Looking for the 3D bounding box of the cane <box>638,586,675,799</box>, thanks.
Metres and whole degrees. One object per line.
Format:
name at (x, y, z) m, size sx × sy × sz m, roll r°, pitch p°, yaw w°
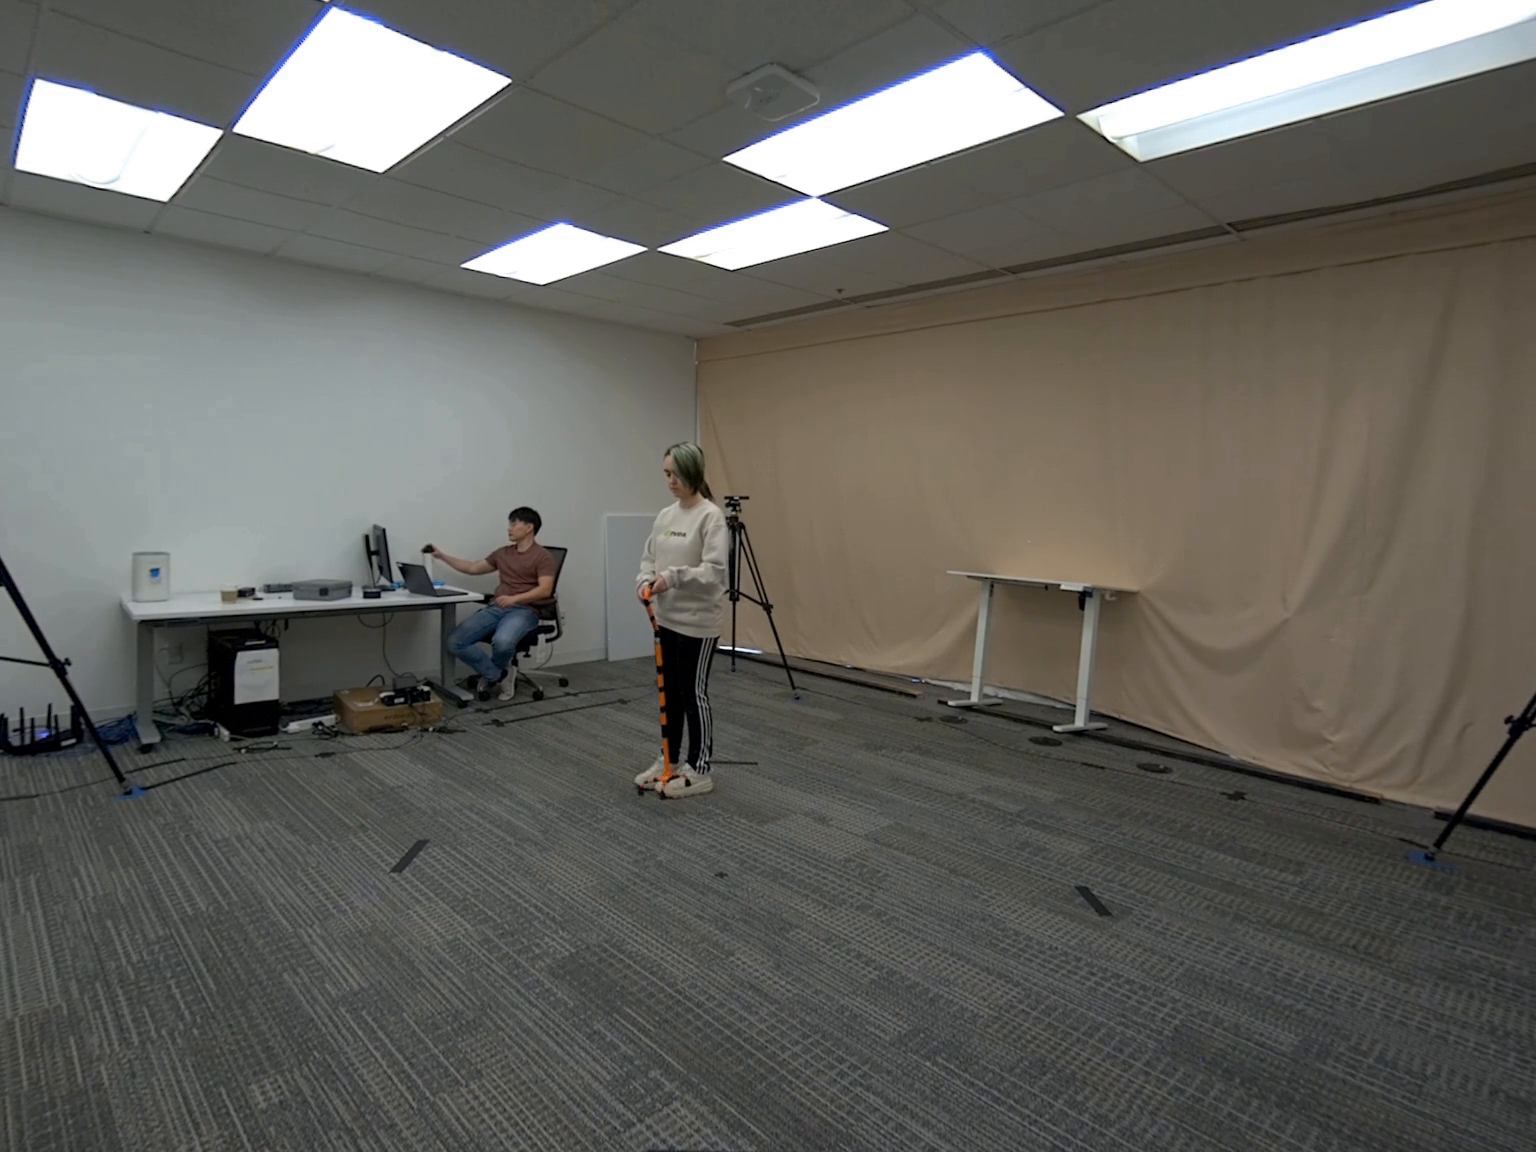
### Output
cane at (-0.495, 0.495, 3.652) m, size 0.155 × 0.906 × 0.203 m, roll -1°, pitch 3°, yaw 31°
